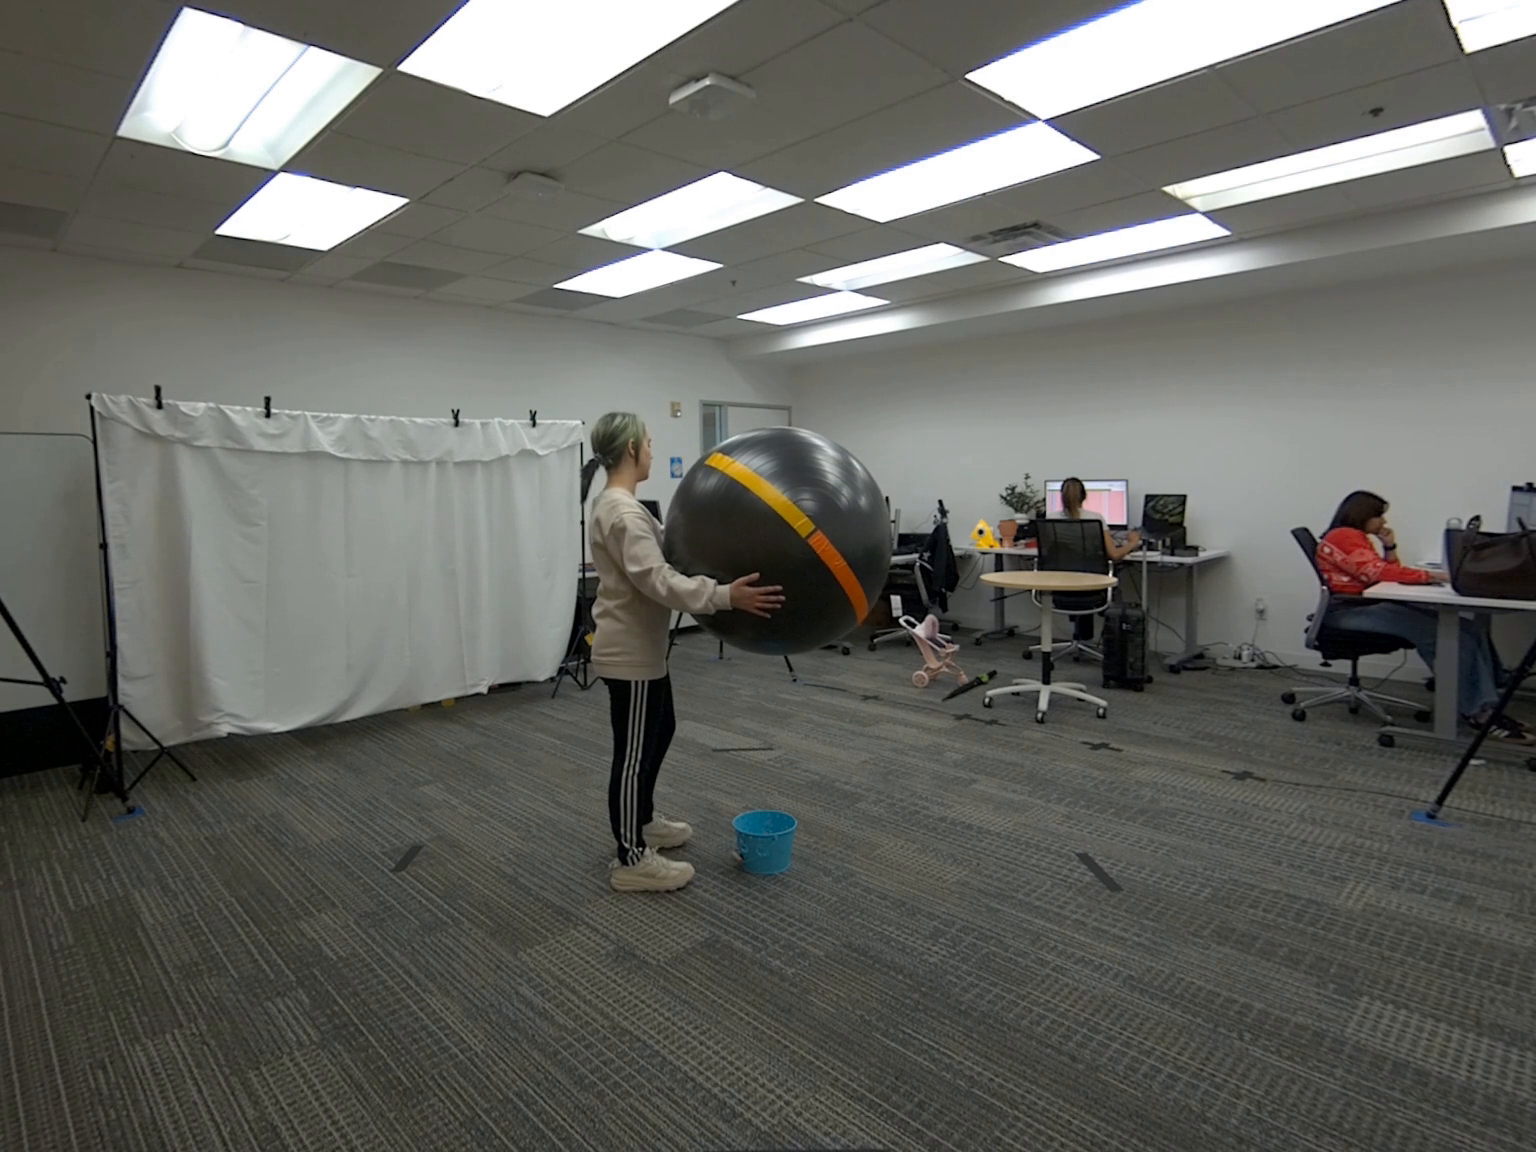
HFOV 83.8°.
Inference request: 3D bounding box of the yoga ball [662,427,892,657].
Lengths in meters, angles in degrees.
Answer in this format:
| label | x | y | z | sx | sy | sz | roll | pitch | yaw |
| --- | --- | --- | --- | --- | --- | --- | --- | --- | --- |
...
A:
| label | x | y | z | sx | sy | sz | roll | pitch | yaw |
| --- | --- | --- | --- | --- | --- | --- | --- | --- | --- |
| yoga ball | 0.039 | -0.105 | 2.847 | 0.757 | 0.755 | 0.762 | -1 | 5 | -2 |
